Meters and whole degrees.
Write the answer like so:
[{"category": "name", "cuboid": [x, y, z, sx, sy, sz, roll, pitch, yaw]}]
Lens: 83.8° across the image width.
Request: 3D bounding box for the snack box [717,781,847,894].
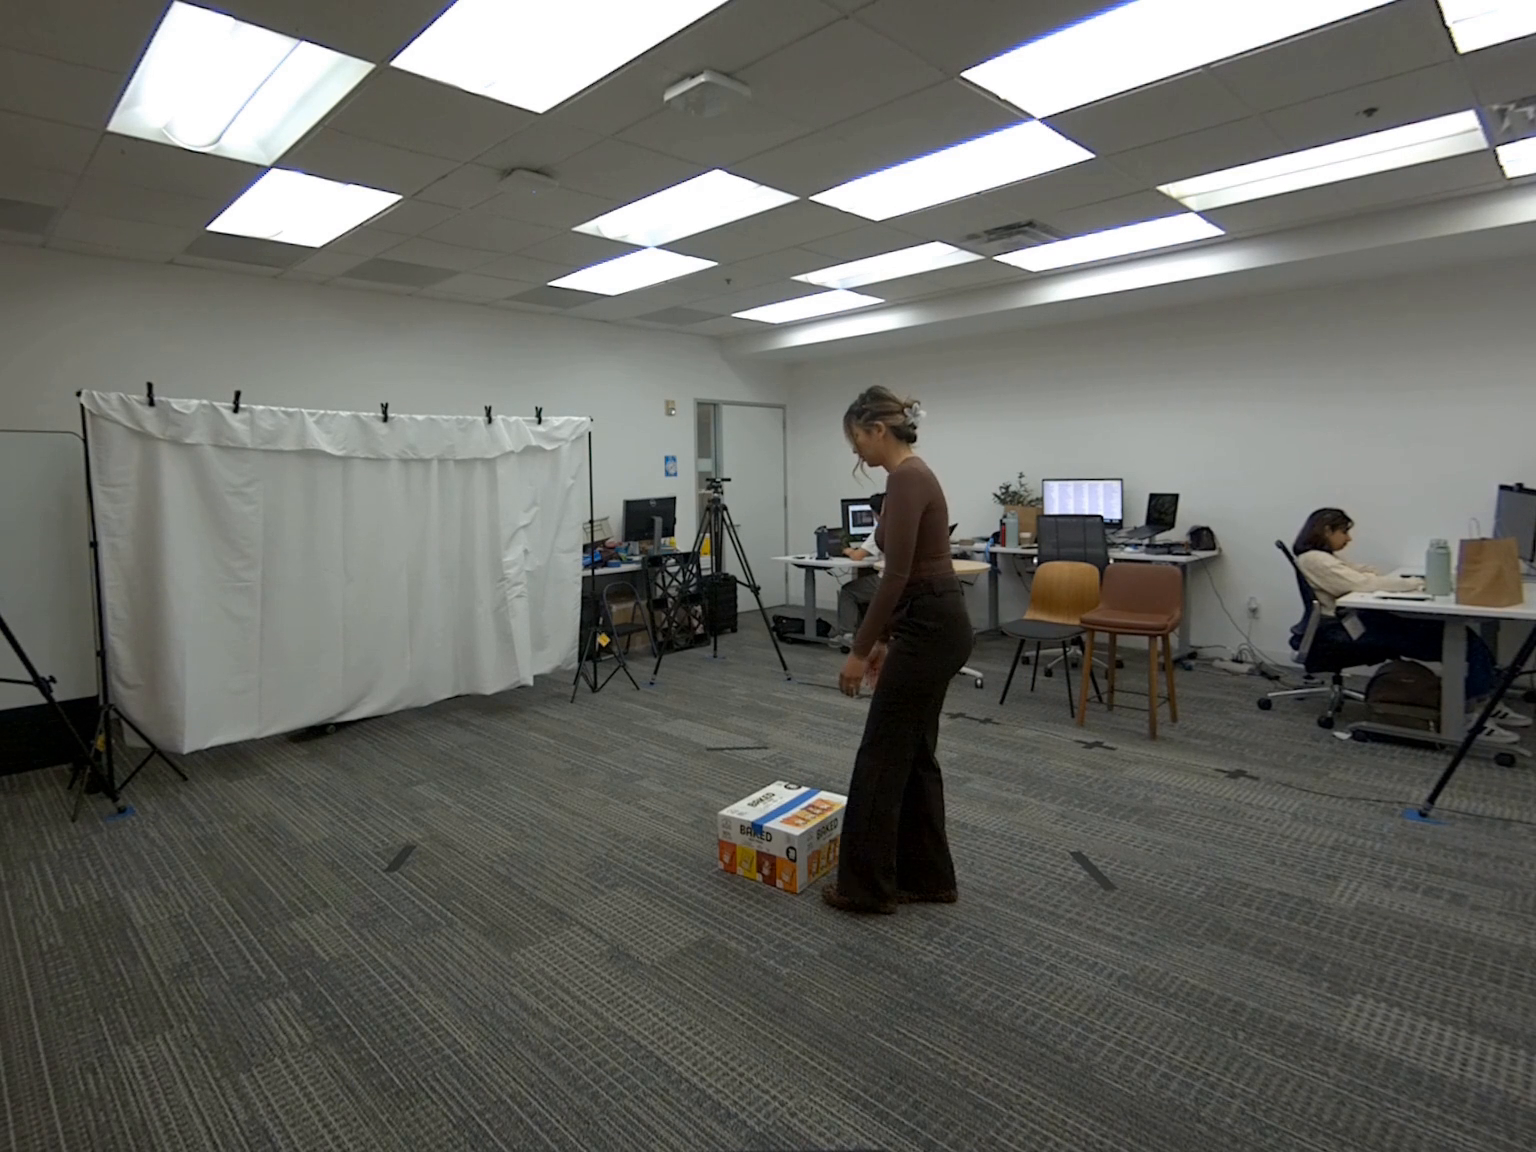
[{"category": "snack box", "cuboid": [0.077, 0.938, 3.116, 0.350, 0.205, 0.395, 3, 7, 36]}]
